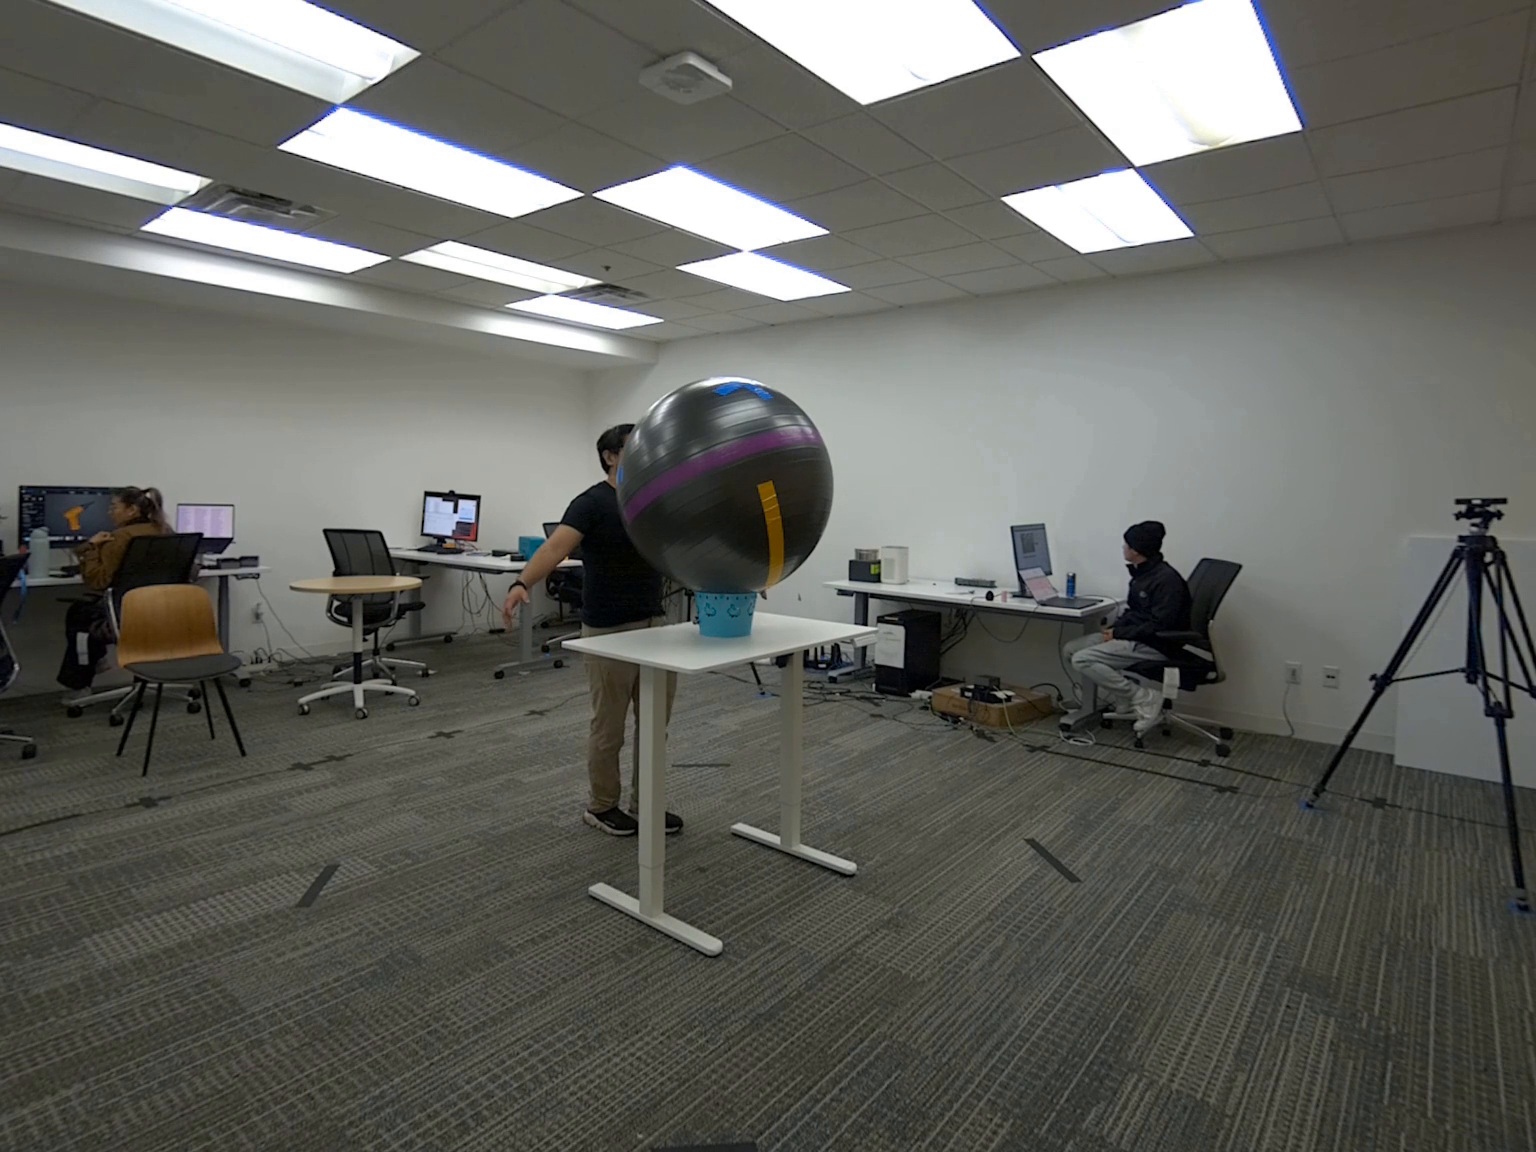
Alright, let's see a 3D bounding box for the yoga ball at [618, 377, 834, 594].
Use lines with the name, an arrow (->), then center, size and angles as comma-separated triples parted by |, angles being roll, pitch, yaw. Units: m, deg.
yoga ball -> -0.162, -0.308, 2.968 | 0.757, 0.755, 0.762 | 1, 4, -2
